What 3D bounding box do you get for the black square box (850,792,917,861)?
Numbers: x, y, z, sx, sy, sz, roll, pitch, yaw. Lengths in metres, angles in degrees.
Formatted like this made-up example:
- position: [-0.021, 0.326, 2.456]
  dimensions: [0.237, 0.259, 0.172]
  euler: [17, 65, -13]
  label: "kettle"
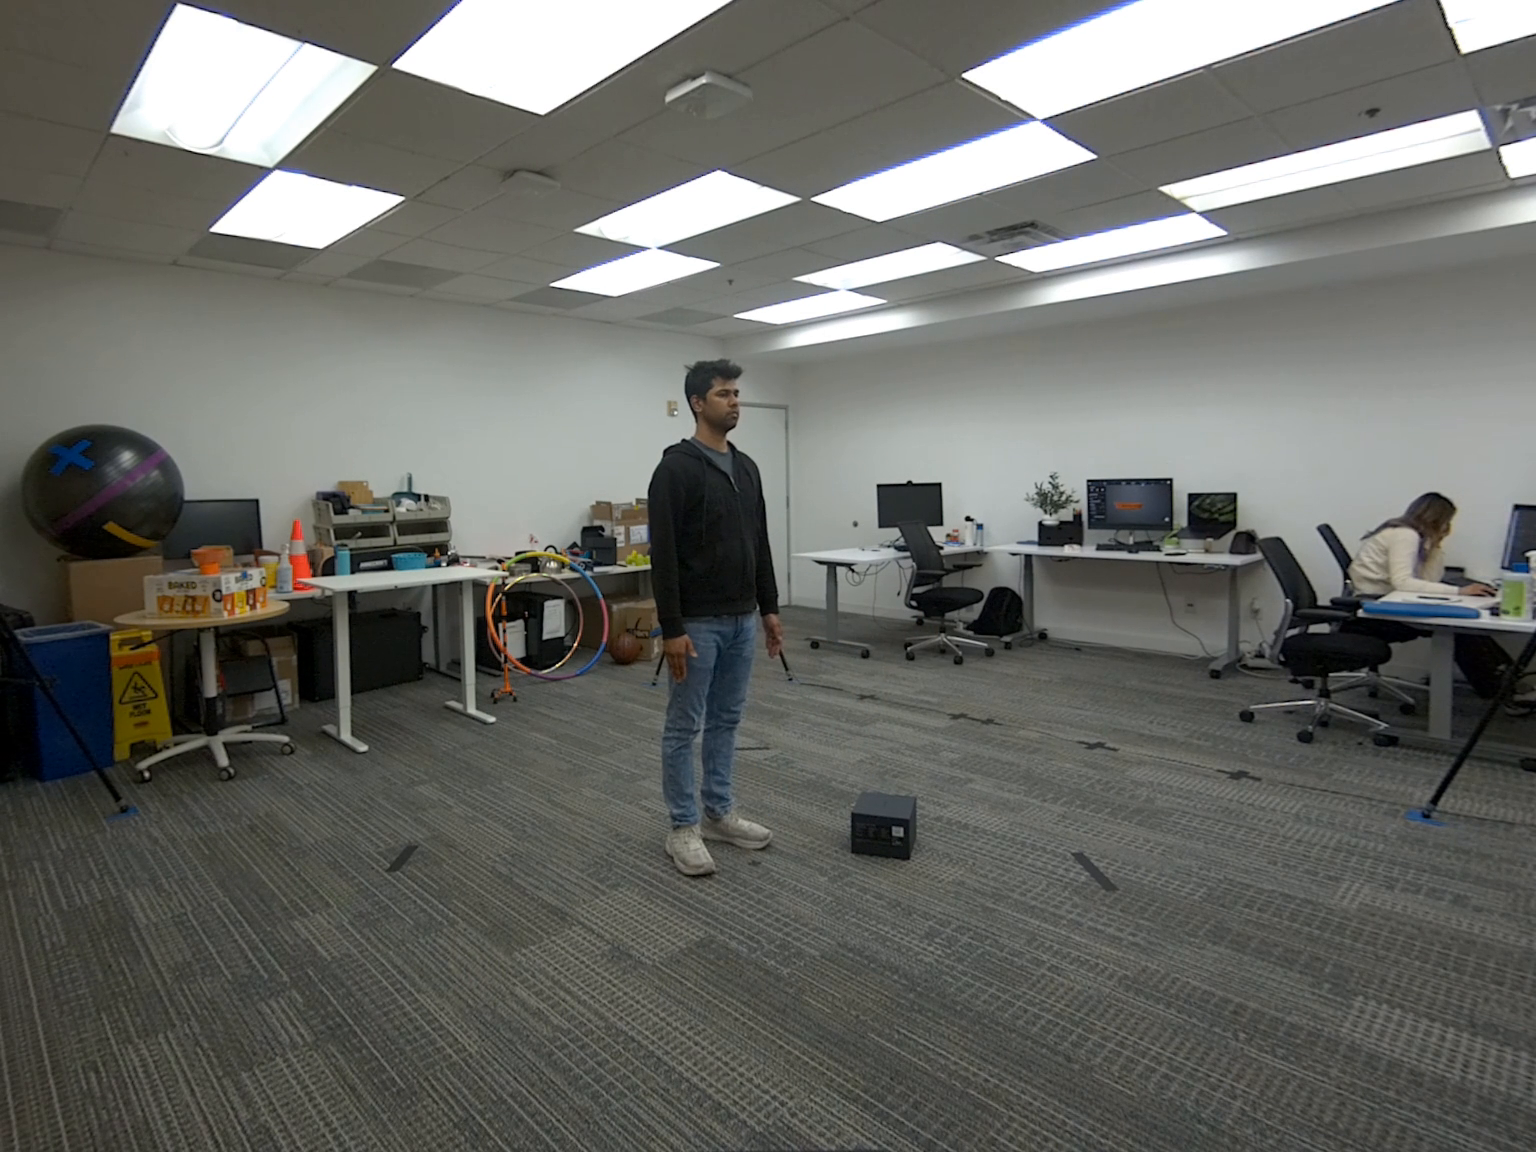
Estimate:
- position: [0.439, 0.931, 3.234]
  dimensions: [0.221, 0.155, 0.225]
  euler: [1, 6, 17]
  label: "black square box"
